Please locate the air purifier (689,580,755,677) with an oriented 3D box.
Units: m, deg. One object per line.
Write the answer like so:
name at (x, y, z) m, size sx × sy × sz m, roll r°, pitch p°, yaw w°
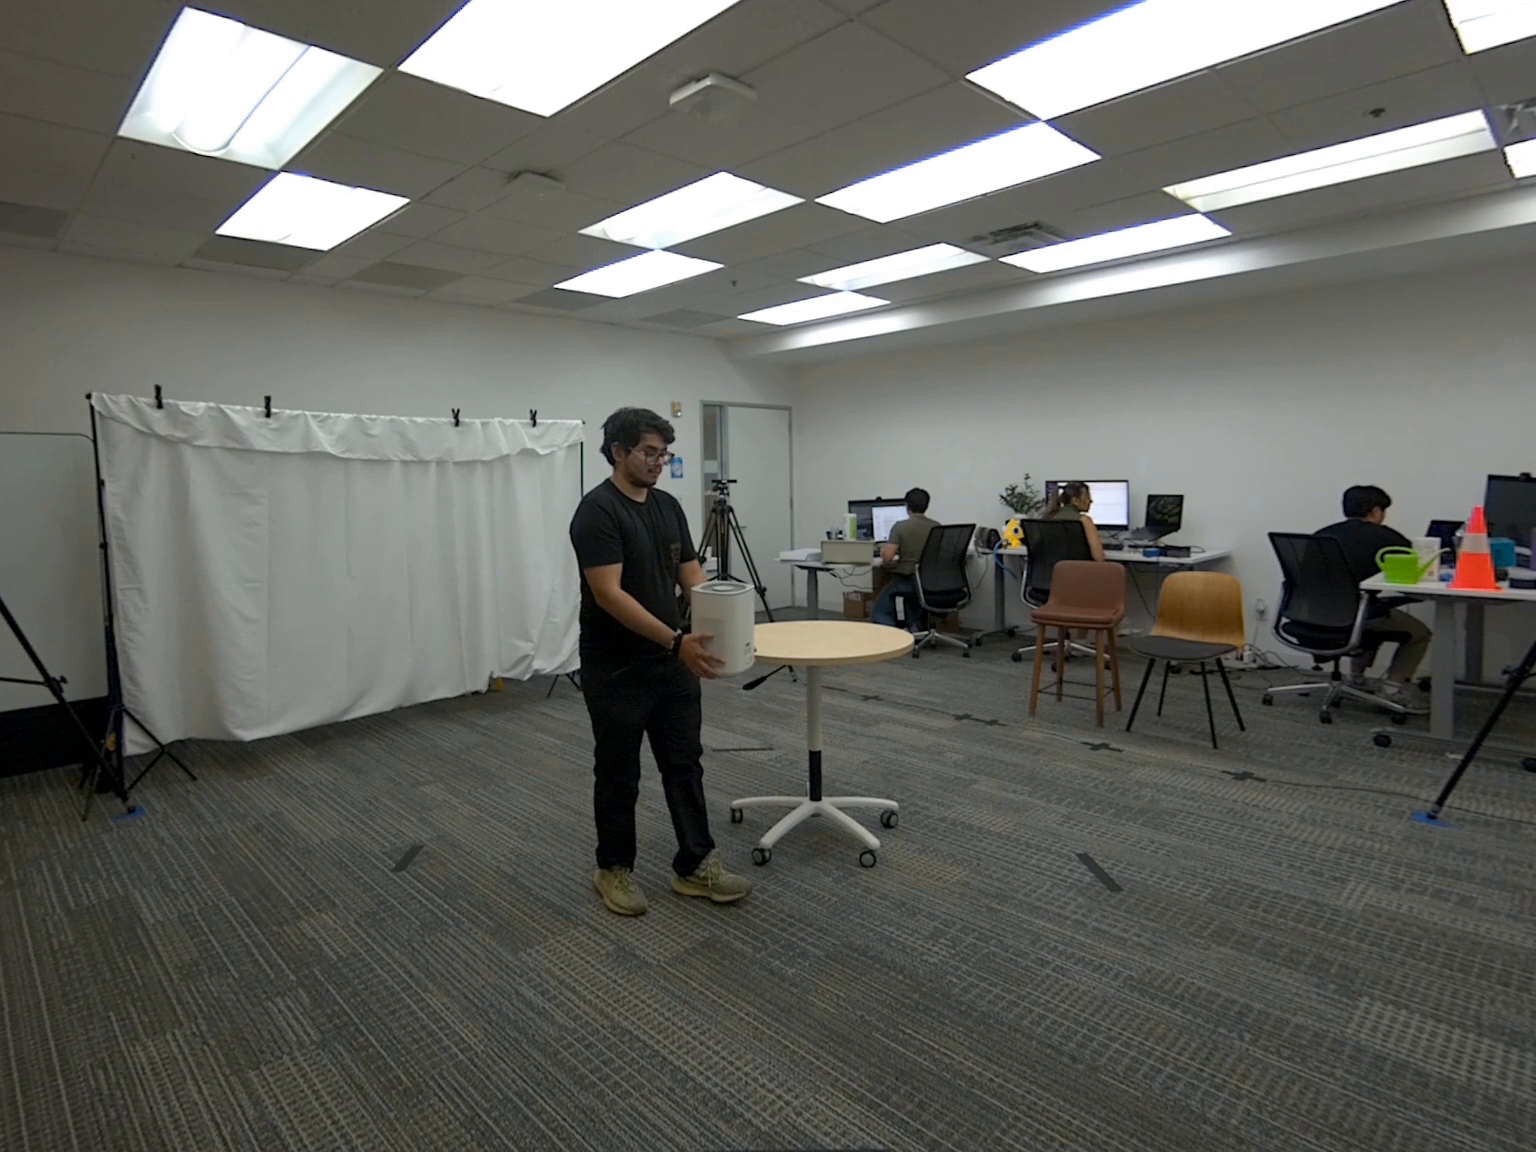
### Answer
air purifier at (-0.139, 0.160, 2.625) m, size 0.176 × 0.263 × 0.168 m, roll 4°, pitch 9°, yaw 25°
